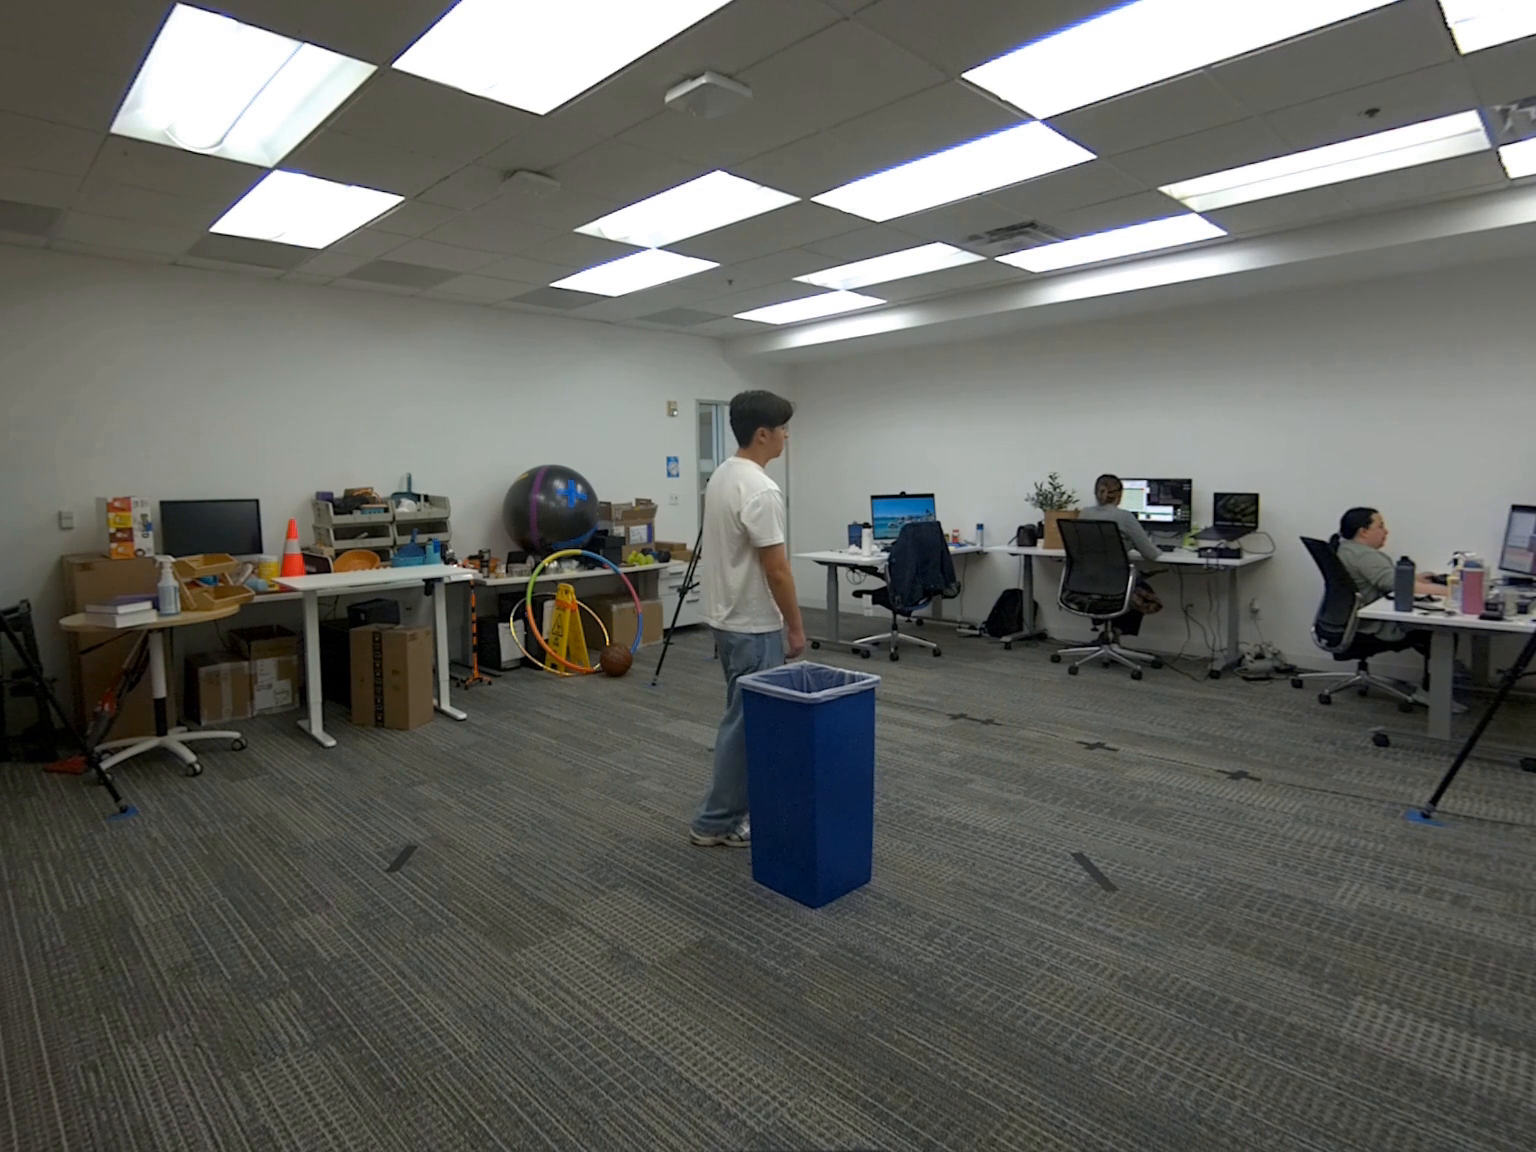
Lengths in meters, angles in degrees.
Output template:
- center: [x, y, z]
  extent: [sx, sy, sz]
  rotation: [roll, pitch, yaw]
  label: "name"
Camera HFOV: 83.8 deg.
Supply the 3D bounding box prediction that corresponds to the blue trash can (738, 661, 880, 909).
- center: [0.146, 0.702, 2.941]
  extent: [0.364, 0.711, 0.389]
  rotation: [-5, 5, -44]
  label: "blue trash can"
